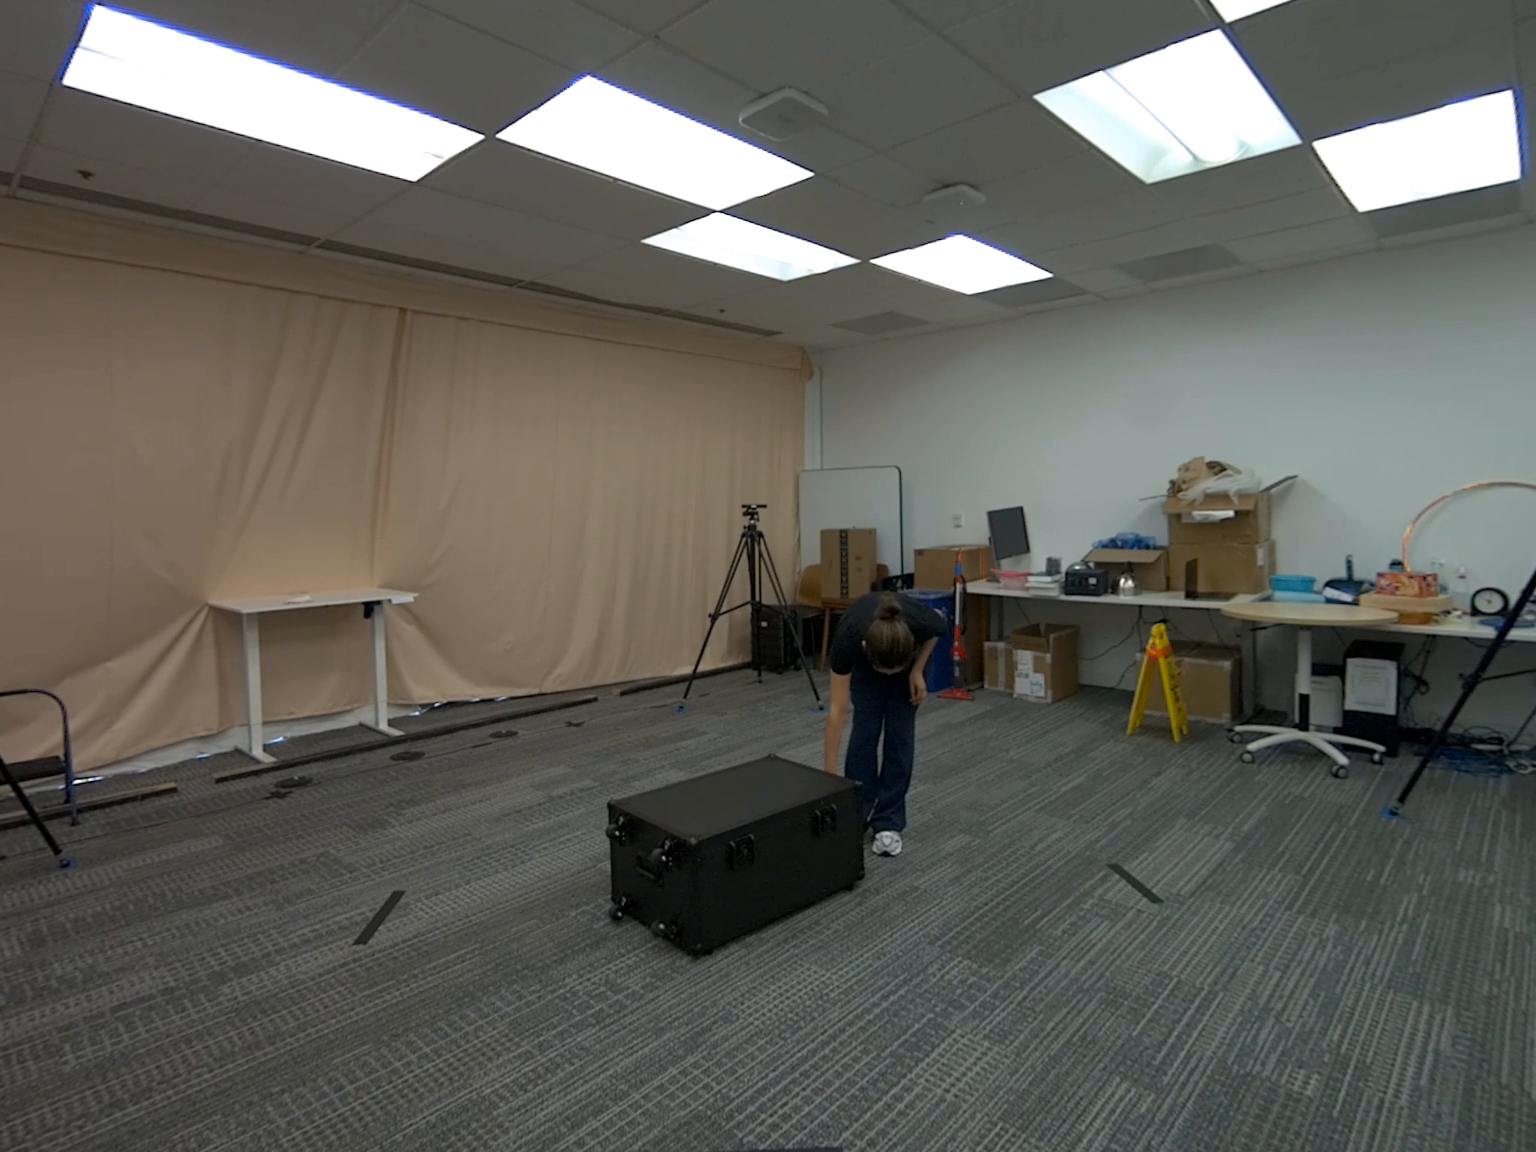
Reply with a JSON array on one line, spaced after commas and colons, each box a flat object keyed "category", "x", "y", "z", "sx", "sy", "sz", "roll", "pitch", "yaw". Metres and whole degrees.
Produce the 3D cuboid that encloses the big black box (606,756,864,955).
[{"category": "big black box", "x": -0.069, "y": 0.950, "z": 2.998, "sx": 0.836, "sy": 0.395, "sz": 0.538, "roll": -6, "pitch": 6, "yaw": -41}]
